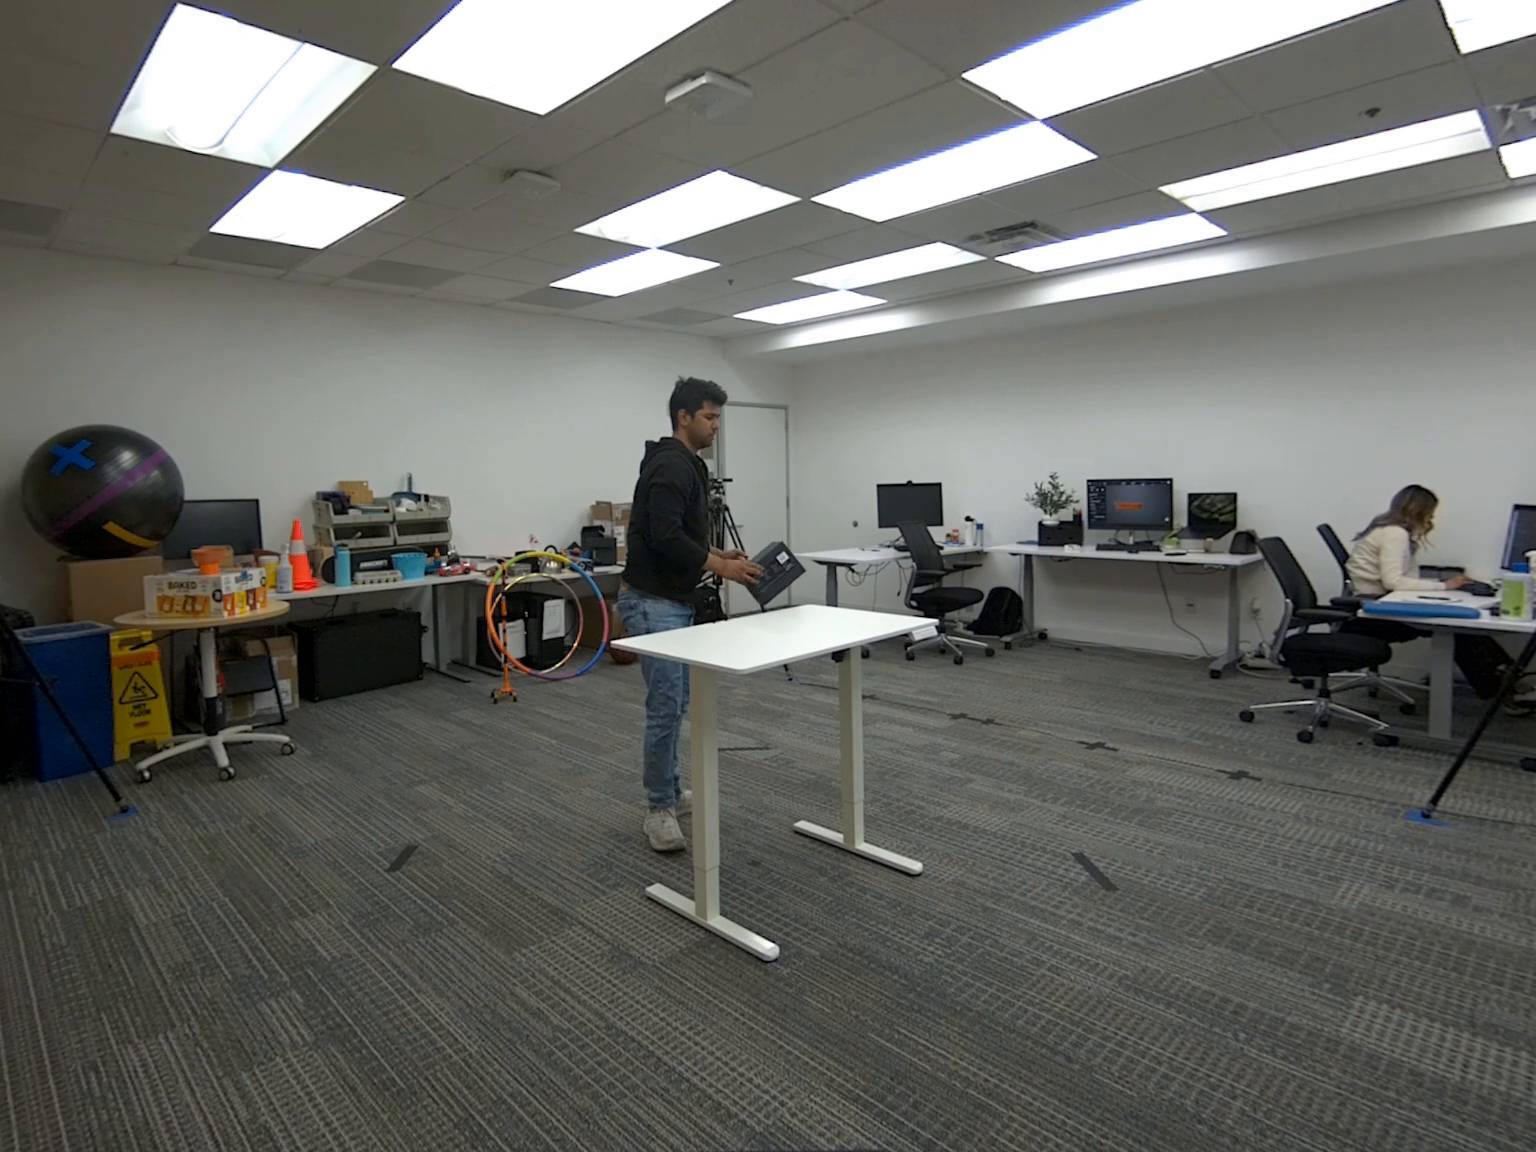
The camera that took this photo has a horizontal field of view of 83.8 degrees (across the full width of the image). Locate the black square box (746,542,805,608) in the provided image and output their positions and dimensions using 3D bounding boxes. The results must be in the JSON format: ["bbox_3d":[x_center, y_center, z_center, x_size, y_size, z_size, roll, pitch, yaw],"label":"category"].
[{"bbox_3d":[-0.002,0.000,3.497,0.217,0.155,0.229,-39,4,-4],"label":"black square box"}]
